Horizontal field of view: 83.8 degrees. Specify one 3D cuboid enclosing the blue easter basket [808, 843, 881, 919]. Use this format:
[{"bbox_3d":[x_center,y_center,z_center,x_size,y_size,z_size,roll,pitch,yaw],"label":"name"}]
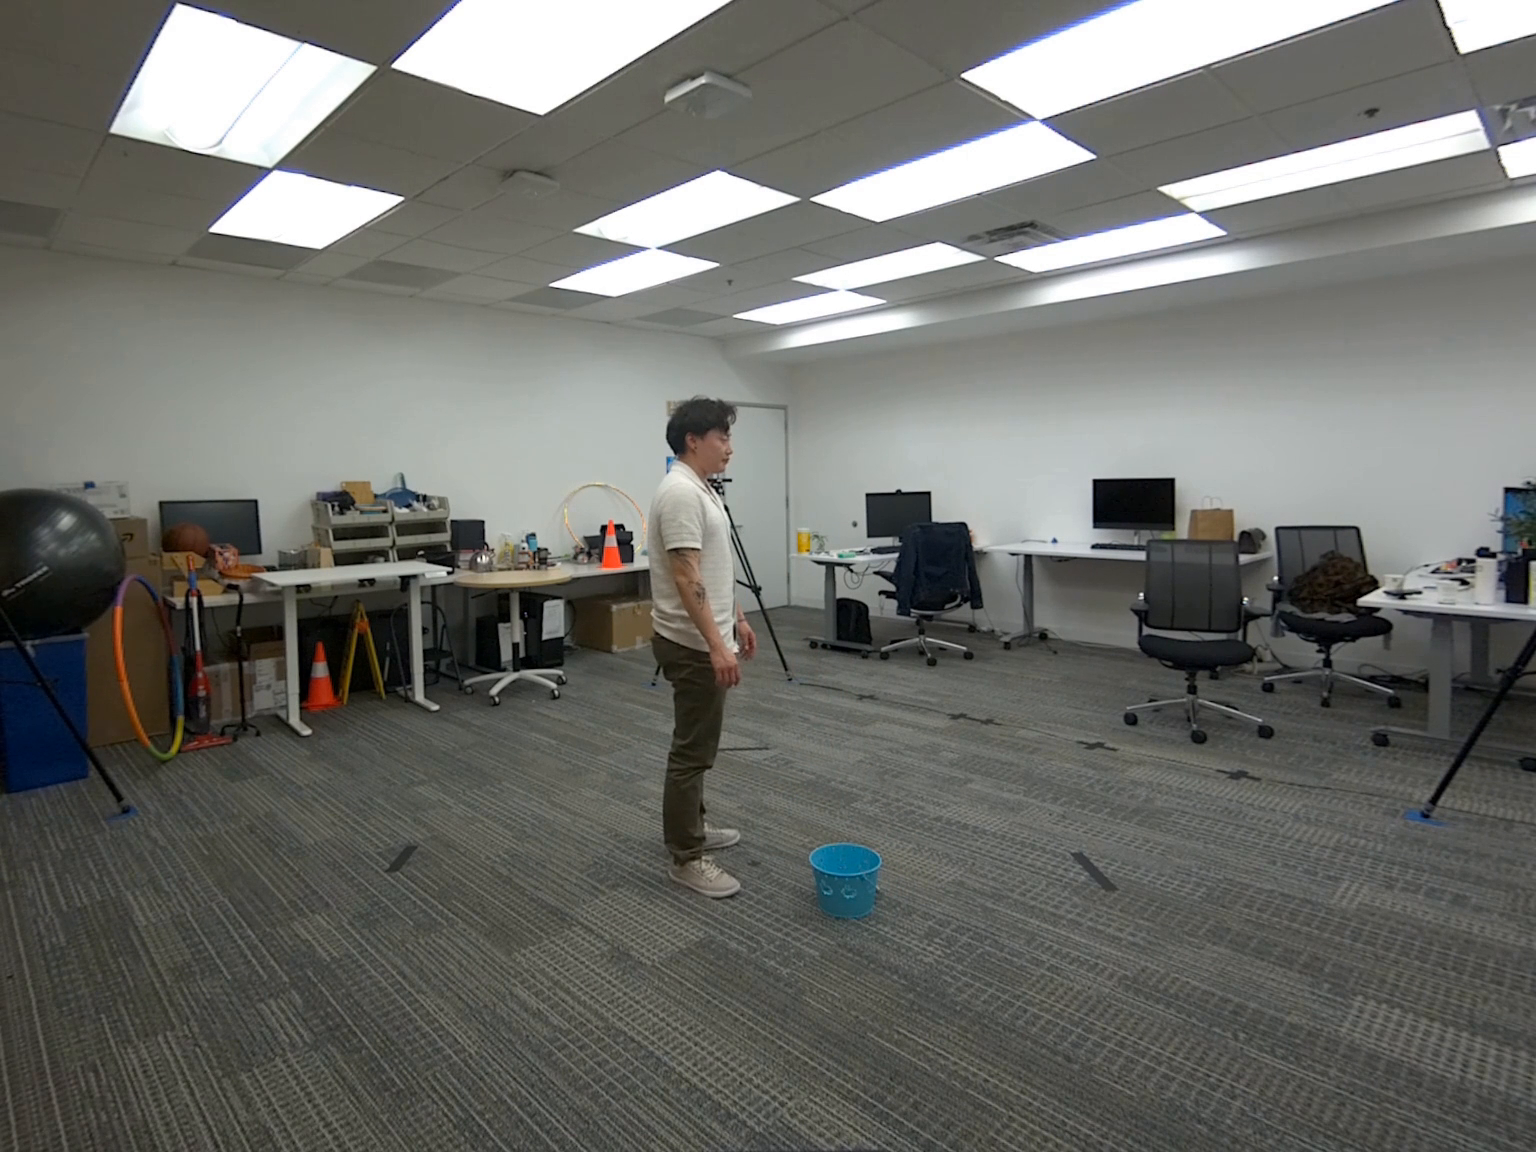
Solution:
[{"bbox_3d":[0.261,0.996,2.796,0.243,0.155,0.245,-1,6,-2],"label":"blue easter basket"}]
